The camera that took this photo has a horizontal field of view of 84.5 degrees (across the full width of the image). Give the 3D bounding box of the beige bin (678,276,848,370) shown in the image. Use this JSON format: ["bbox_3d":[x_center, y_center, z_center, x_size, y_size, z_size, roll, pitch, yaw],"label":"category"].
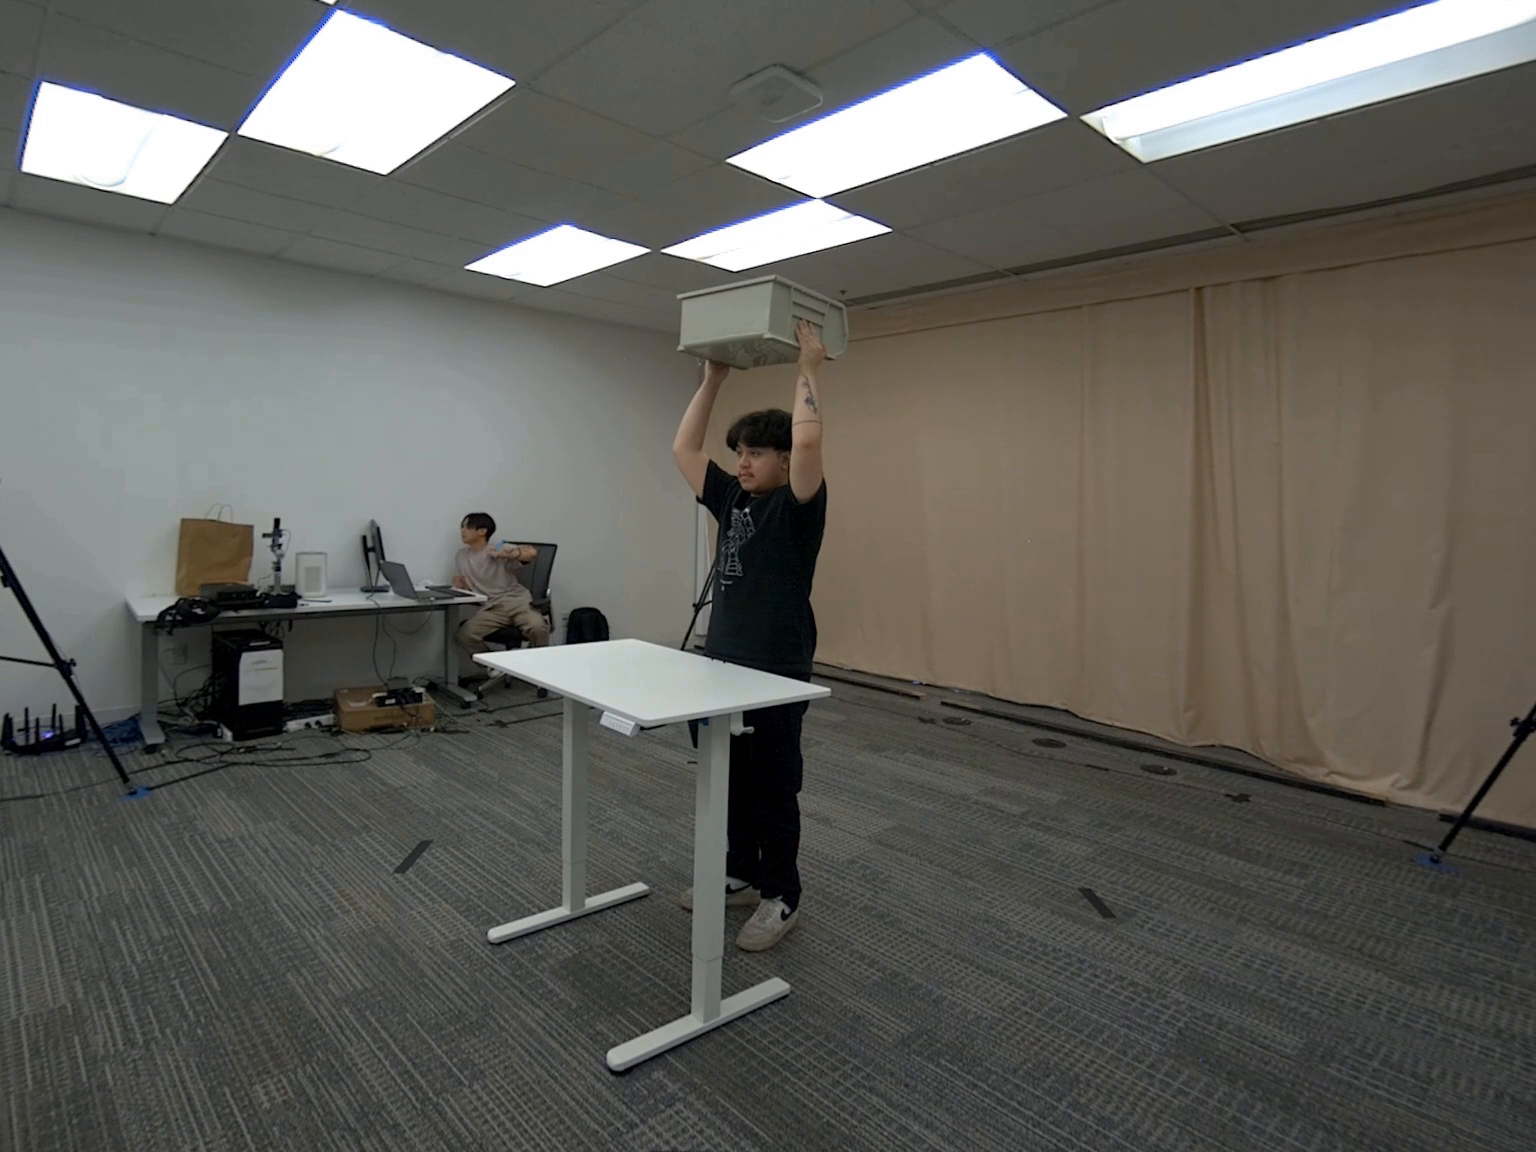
[{"bbox_3d":[-0.025,-0.792,2.707,0.433,0.189,0.368,7,3,43],"label":"beige bin"}]
